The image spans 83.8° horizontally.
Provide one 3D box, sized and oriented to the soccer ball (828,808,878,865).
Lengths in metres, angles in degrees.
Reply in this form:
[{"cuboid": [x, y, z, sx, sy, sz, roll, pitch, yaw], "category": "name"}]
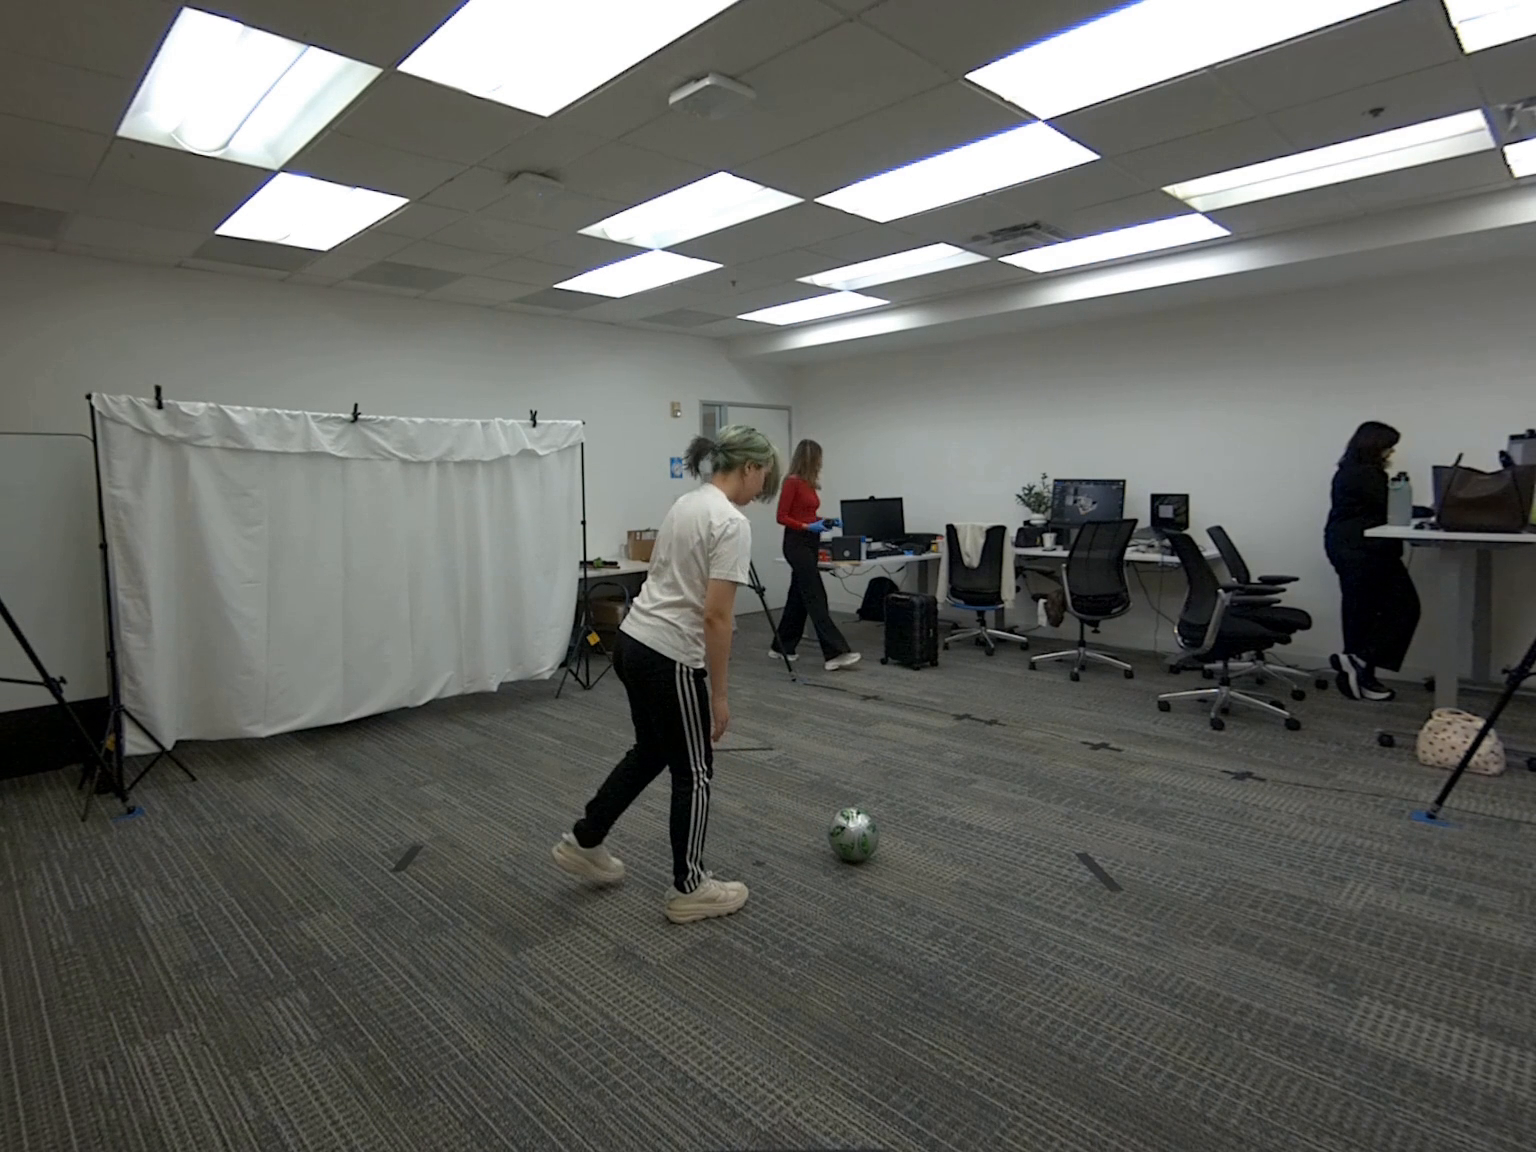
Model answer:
[{"cuboid": [0.312, 0.946, 3.126, 0.187, 0.187, 0.188, -1, 5, -2], "category": "soccer ball"}]
